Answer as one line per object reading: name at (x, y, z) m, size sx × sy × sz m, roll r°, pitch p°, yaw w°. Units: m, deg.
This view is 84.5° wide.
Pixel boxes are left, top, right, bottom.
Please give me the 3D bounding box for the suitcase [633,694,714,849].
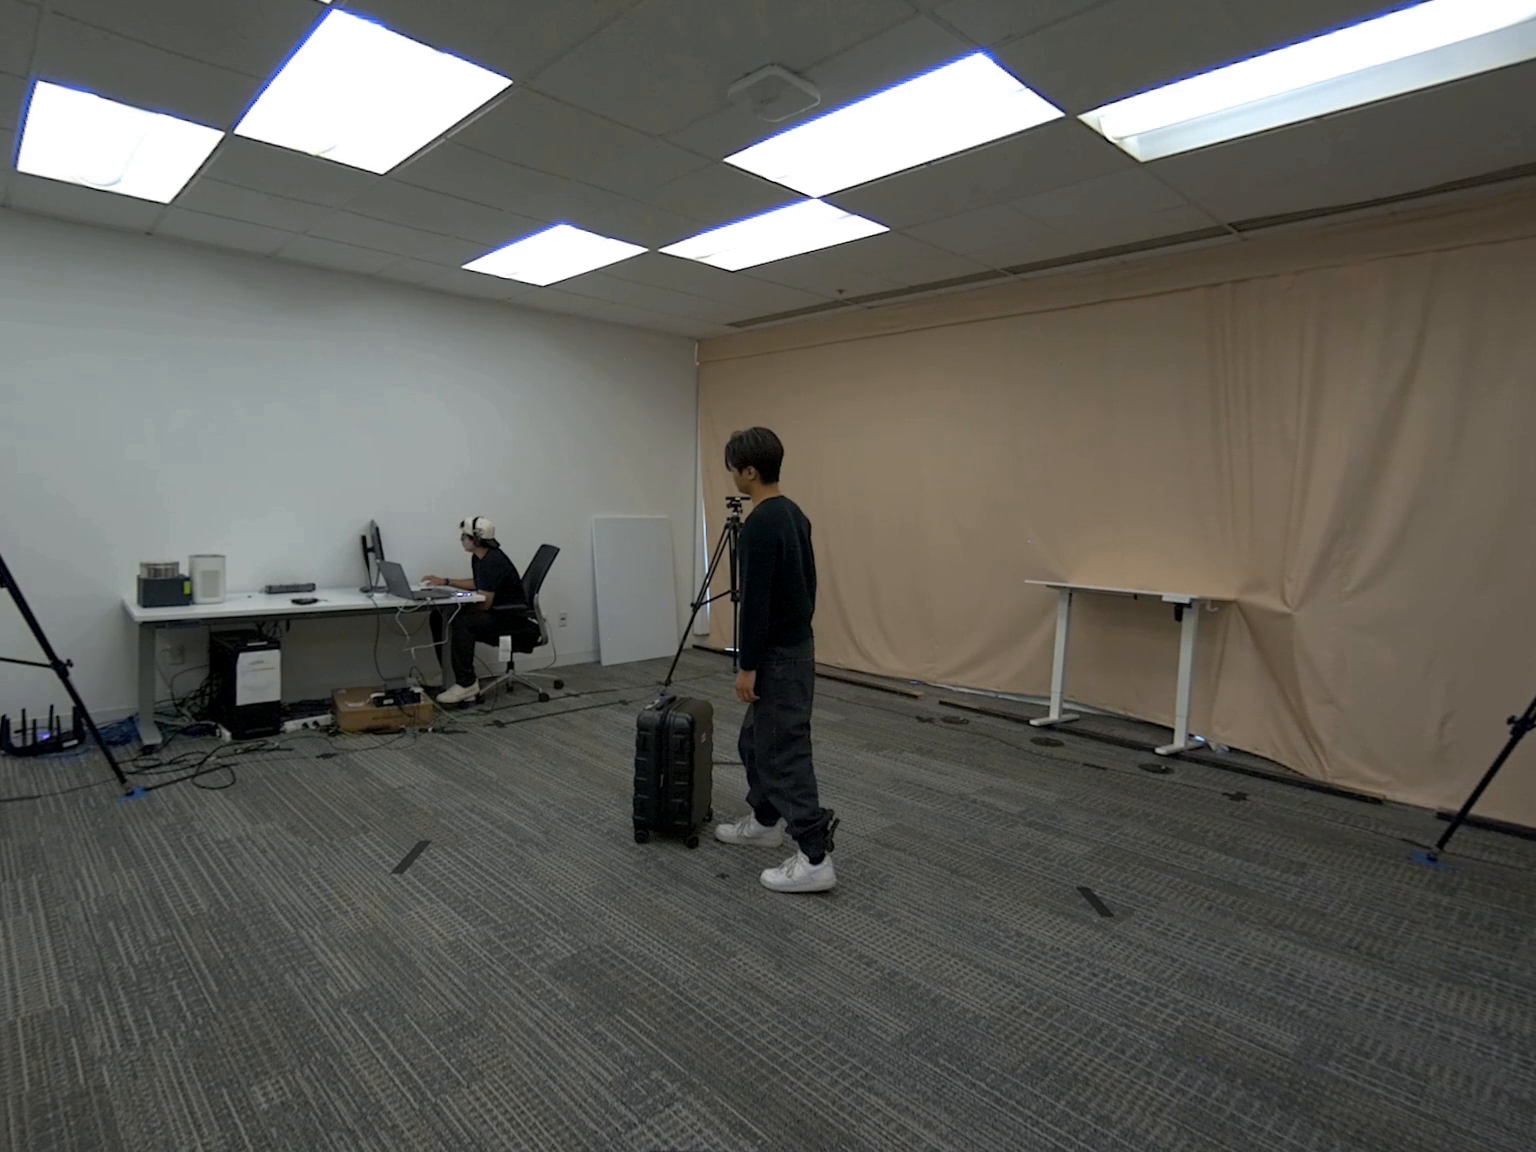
suitcase at (-0.389, 0.786, 3.501) m, size 0.251 × 0.548 × 0.372 m, roll 3°, pitch 3°, yaw 12°
